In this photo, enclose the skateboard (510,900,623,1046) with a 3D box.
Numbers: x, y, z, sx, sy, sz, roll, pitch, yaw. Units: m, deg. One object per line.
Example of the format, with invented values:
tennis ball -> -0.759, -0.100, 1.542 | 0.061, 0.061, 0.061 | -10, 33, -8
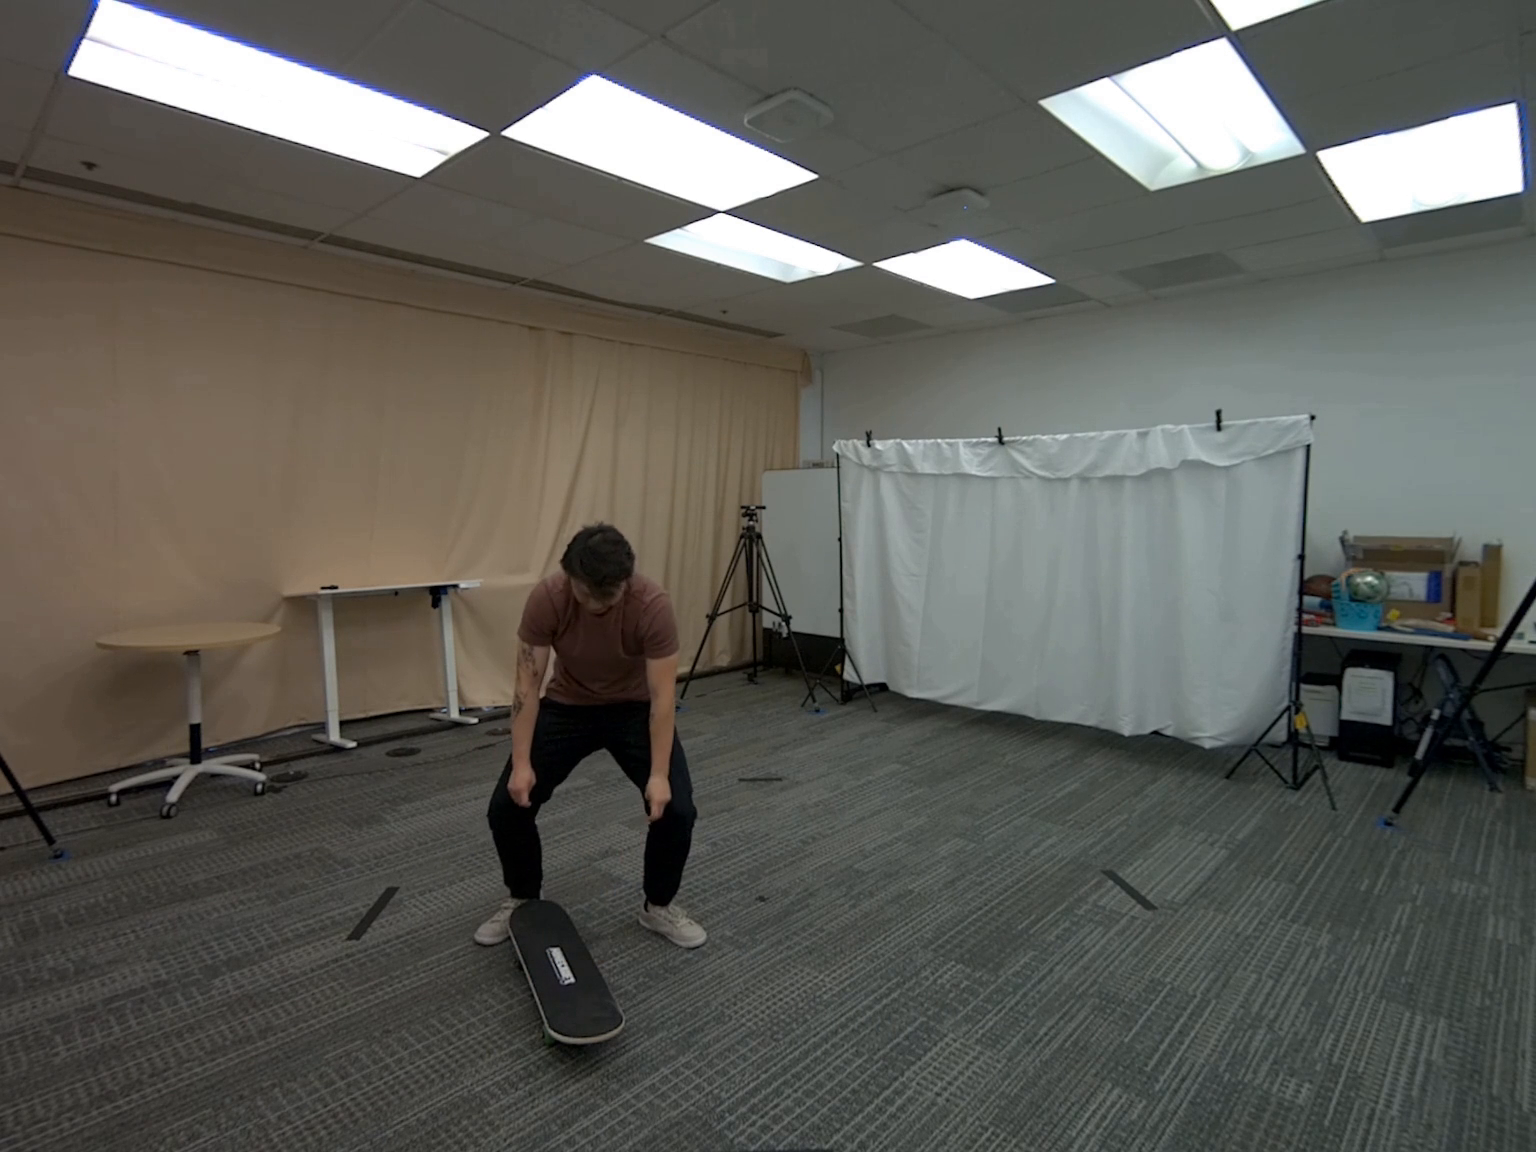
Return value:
skateboard -> -0.587, 1.137, 2.399 | 0.189, 0.110, 0.806 | 0, 4, -26
